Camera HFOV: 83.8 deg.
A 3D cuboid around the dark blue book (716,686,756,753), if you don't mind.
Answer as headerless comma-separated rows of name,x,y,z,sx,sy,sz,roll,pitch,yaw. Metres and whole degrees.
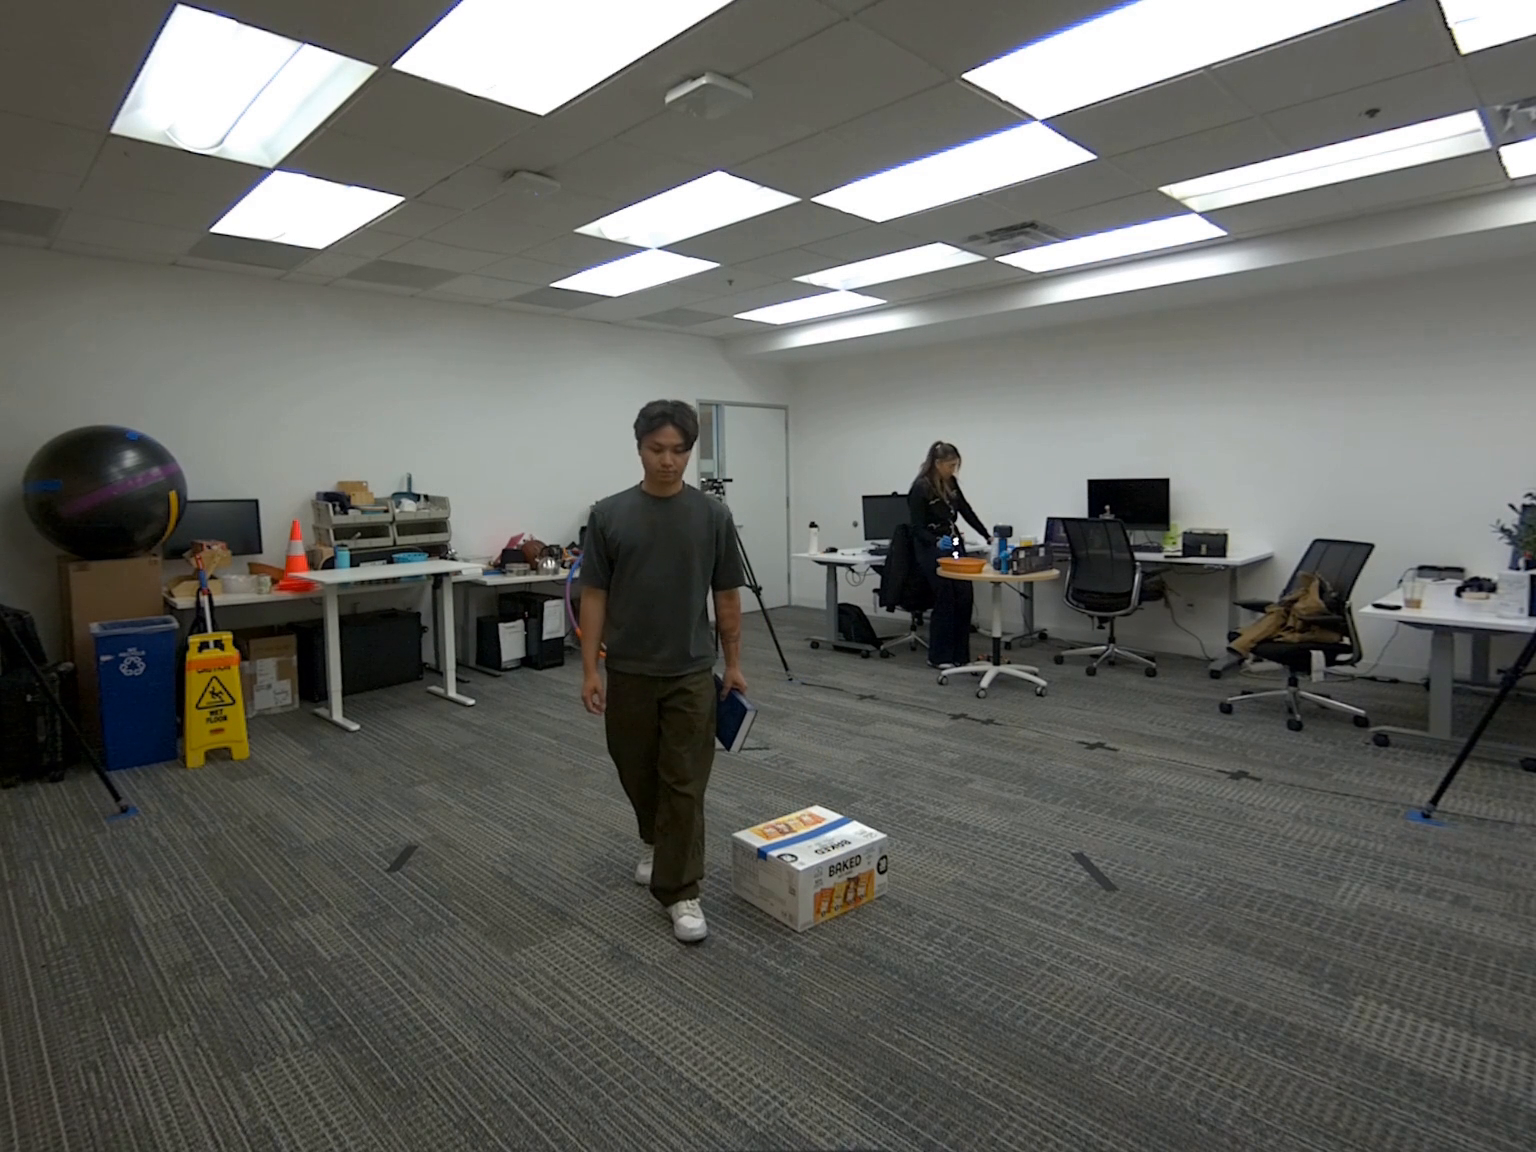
dark blue book,-0.133,0.455,2.867,0.044,0.162,0.254,14,14,-33
